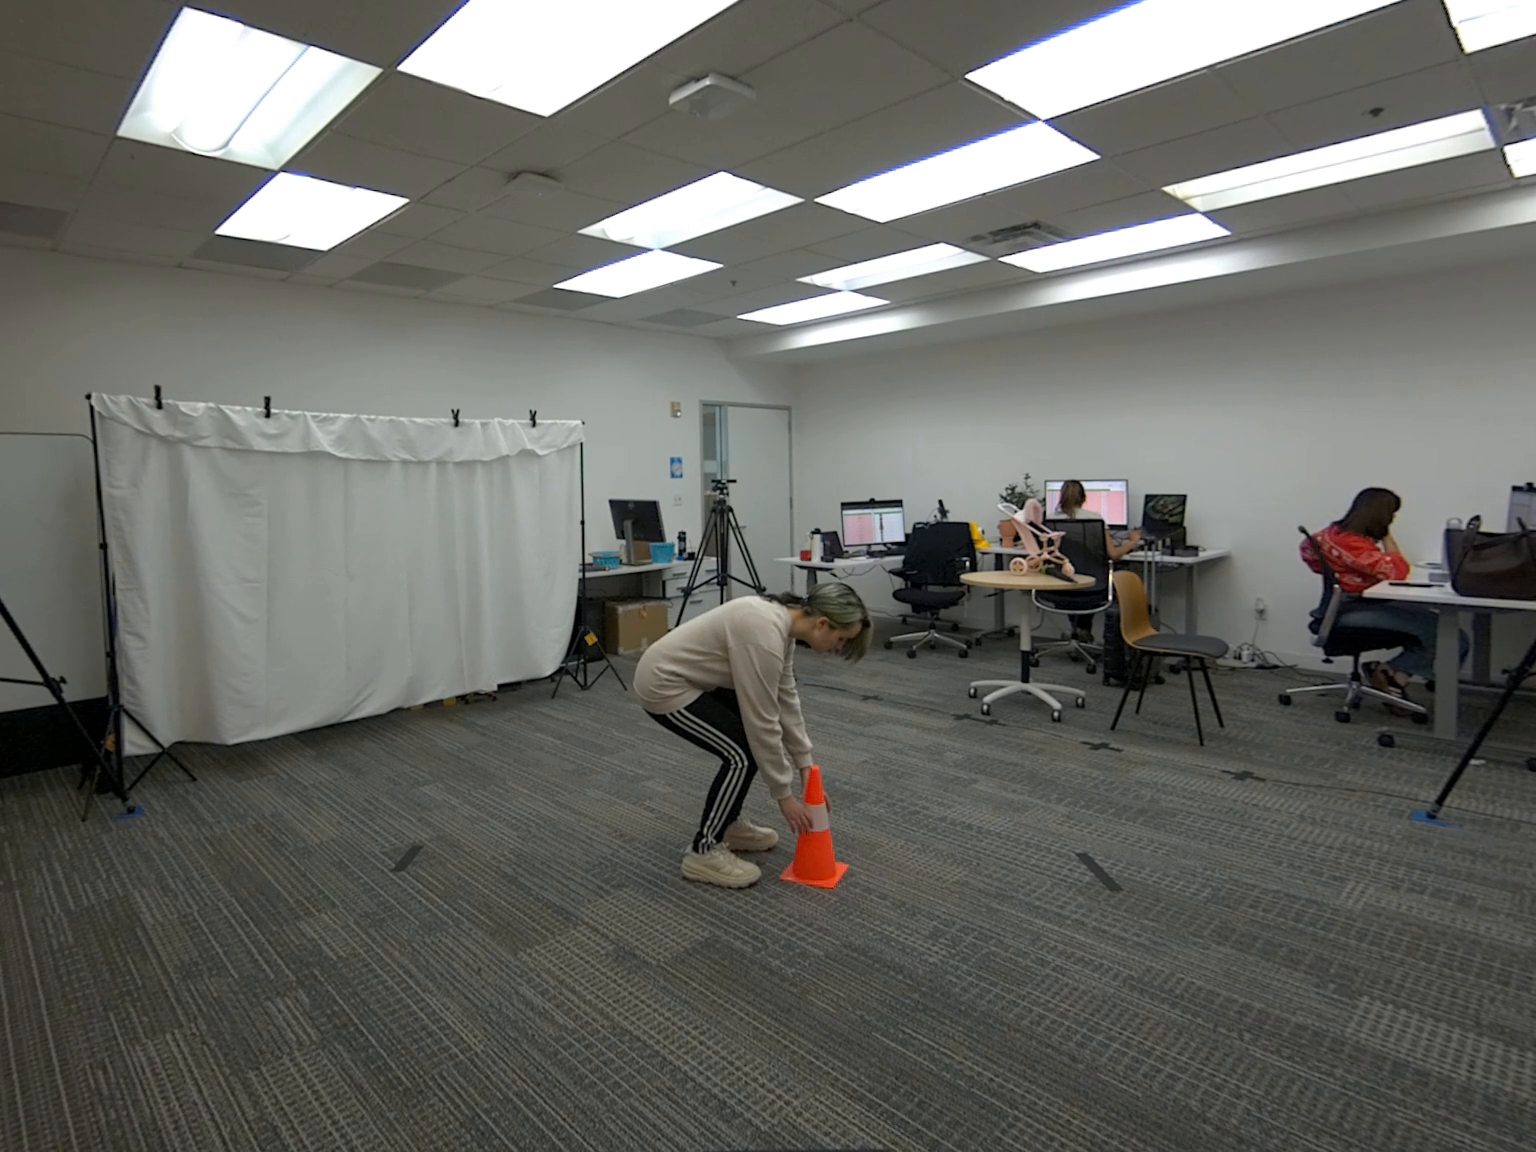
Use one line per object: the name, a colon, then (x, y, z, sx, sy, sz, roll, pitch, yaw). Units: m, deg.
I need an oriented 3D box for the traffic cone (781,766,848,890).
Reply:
traffic cone: (0.161, 0.866, 3.024, 0.207, 0.382, 0.201, 0, 3, 21)
